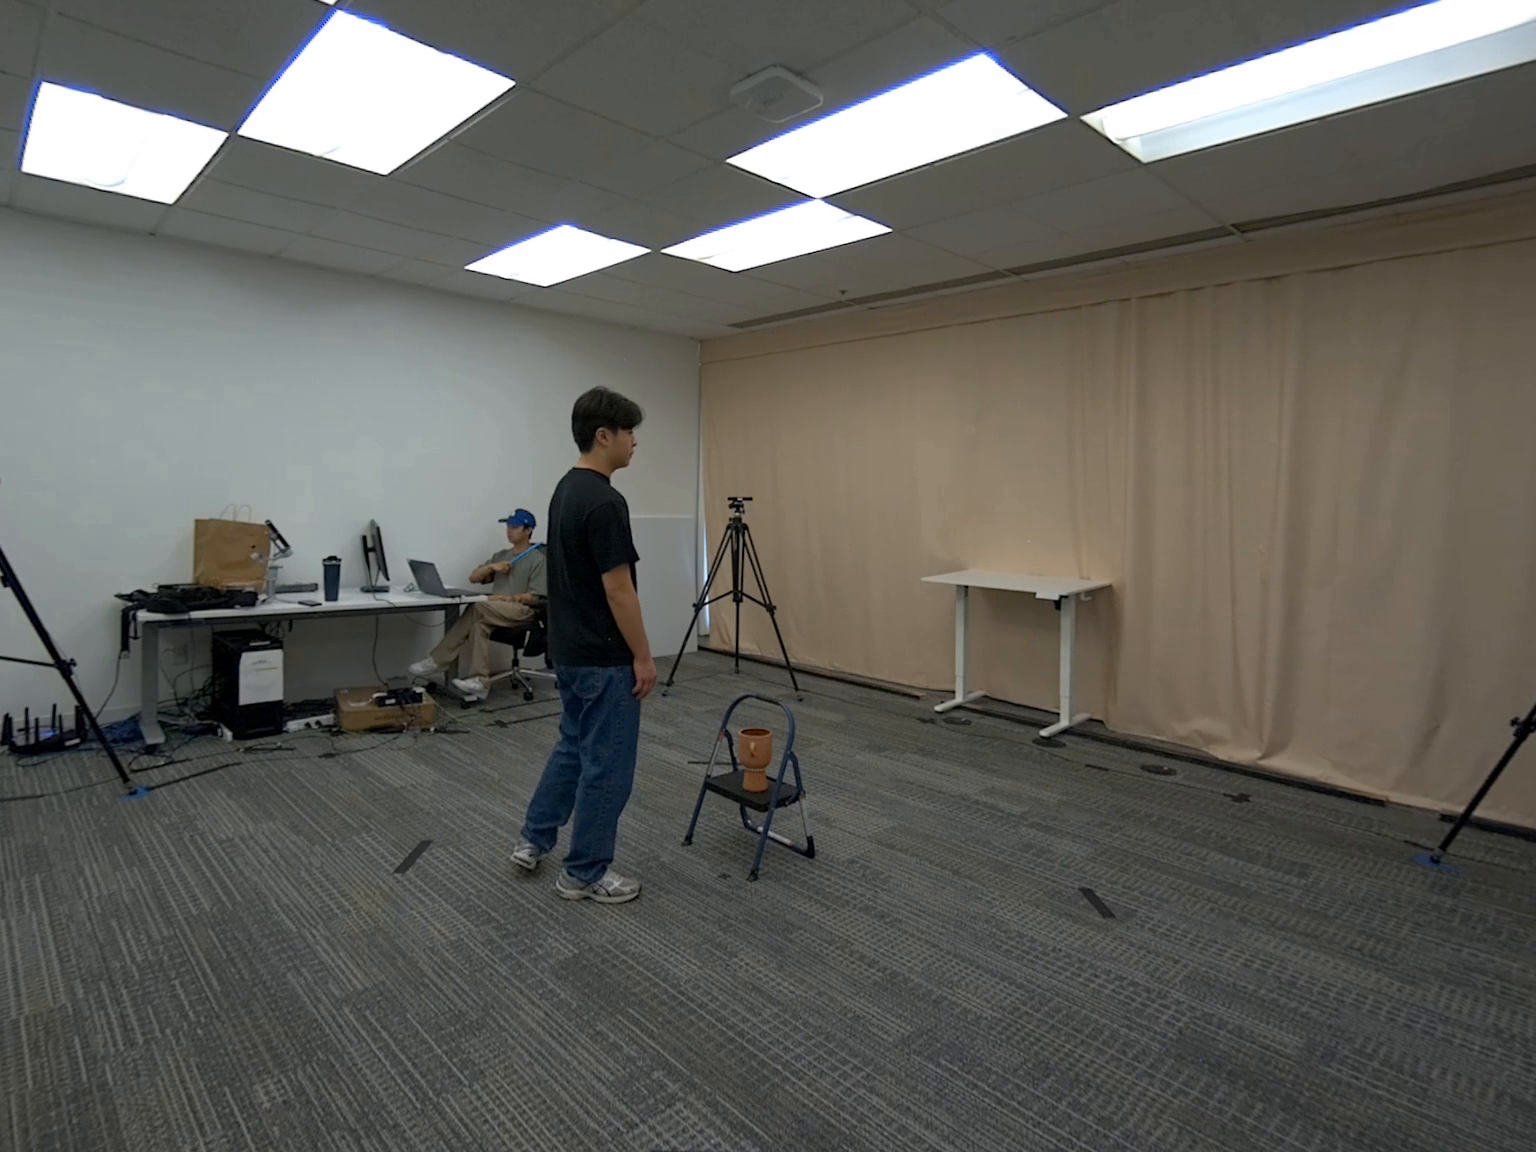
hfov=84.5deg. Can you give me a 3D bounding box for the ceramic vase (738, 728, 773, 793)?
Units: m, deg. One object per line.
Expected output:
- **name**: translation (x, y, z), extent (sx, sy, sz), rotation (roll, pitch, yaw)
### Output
- **ceramic vase**: translation (-0.053, 0.720, 3.299), extent (0.155, 0.219, 0.138), rotation (-4, 5, -43)
